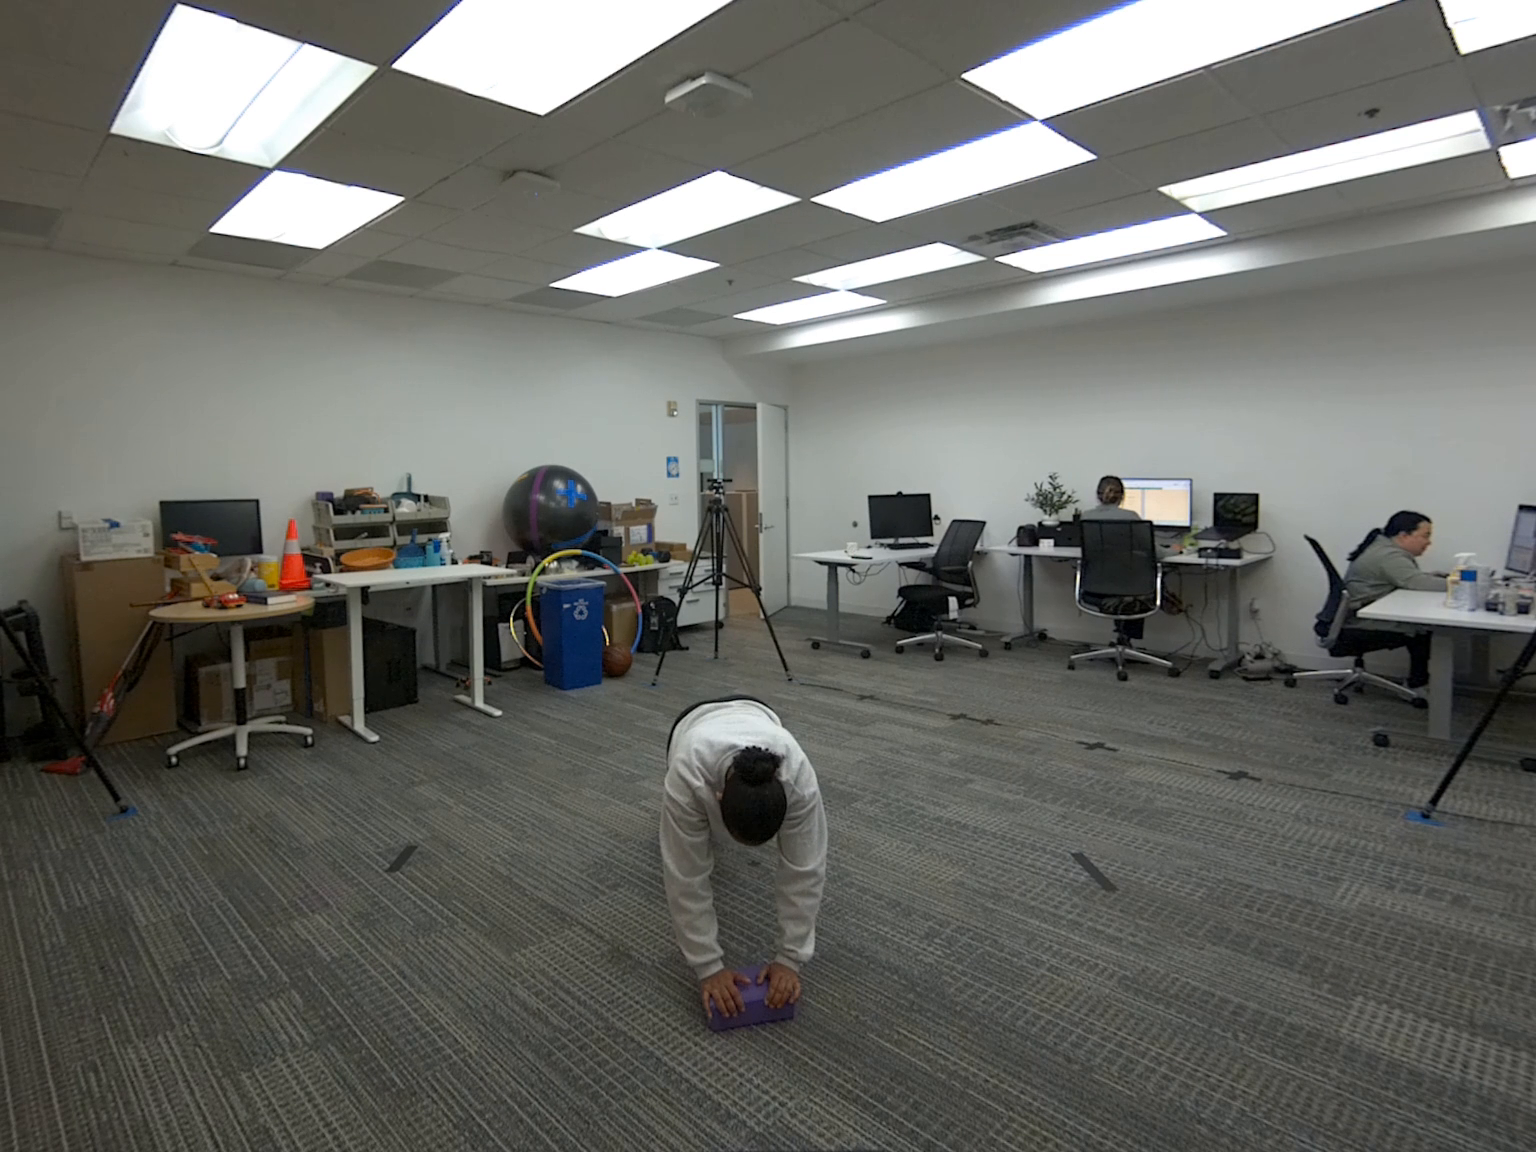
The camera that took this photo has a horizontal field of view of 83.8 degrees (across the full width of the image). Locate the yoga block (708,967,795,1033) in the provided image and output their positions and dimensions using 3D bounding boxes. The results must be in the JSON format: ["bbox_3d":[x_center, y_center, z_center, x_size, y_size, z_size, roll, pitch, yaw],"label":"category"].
[{"bbox_3d":[-0.048,1.119,2.255,0.227,0.076,0.151,-3,6,-13],"label":"yoga block"}]
